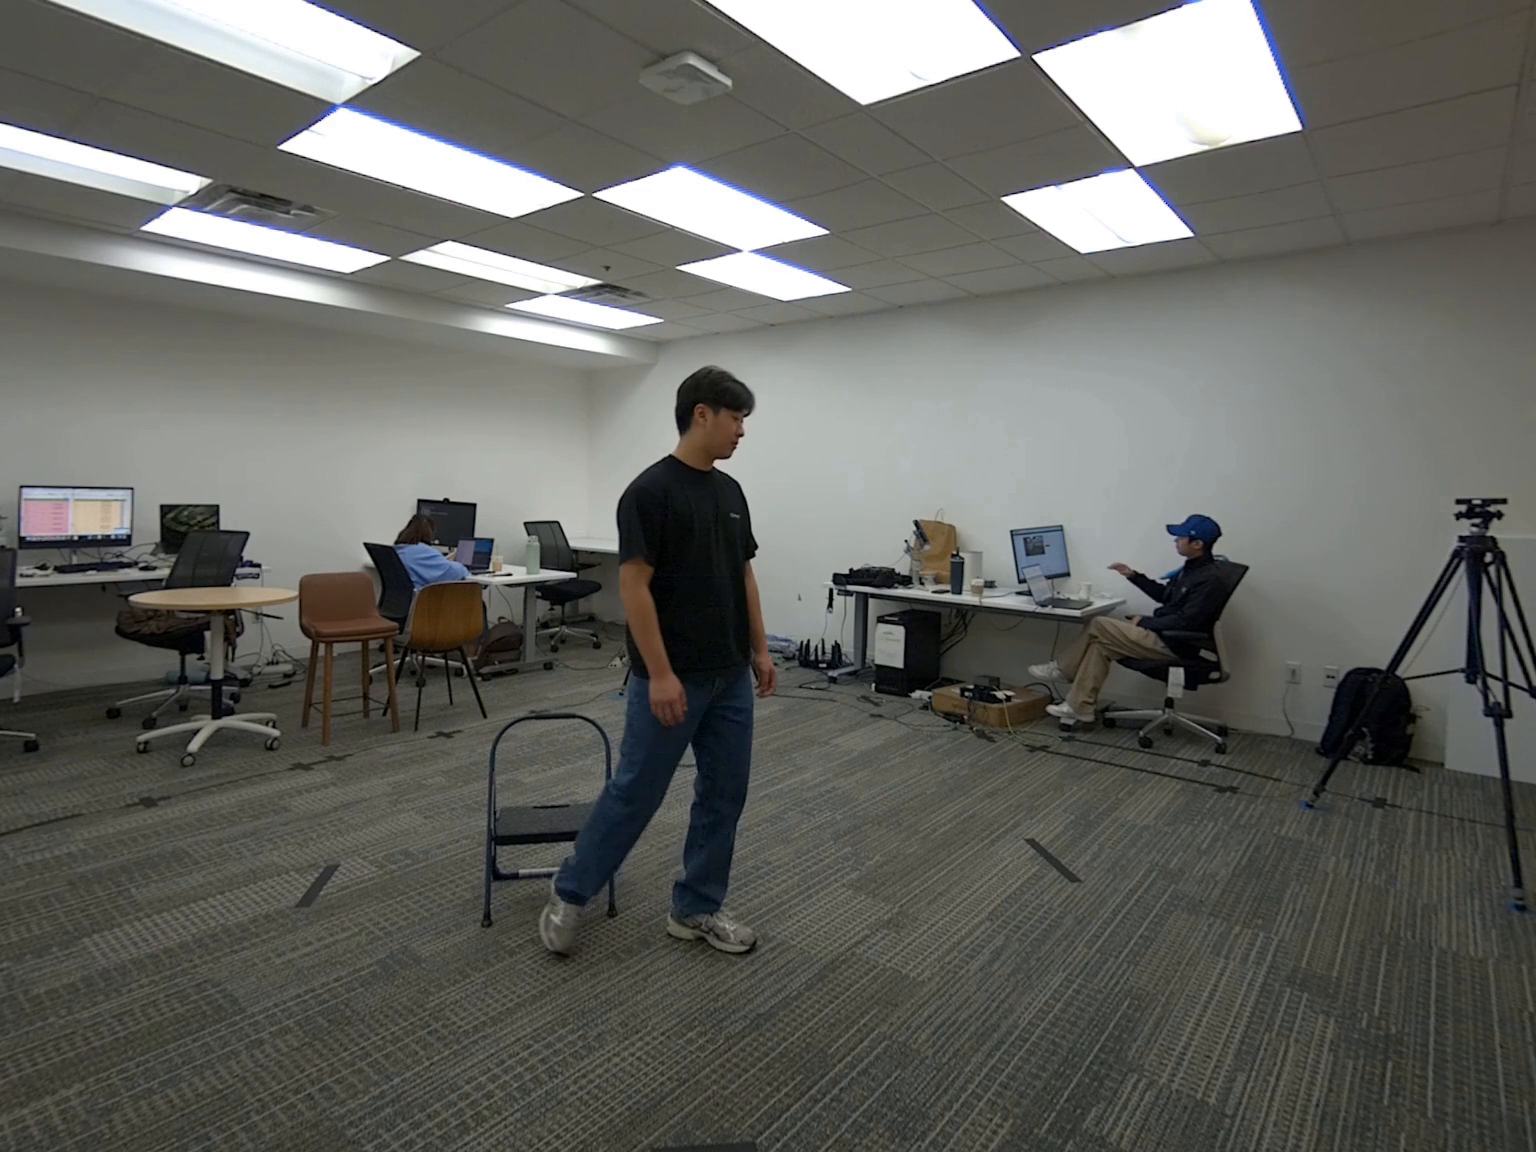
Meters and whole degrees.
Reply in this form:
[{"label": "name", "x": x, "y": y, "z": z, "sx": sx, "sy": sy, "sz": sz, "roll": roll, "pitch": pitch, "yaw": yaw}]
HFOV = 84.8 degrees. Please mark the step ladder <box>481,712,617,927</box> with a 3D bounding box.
[{"label": "step ladder", "x": -0.742, "y": 0.785, "z": 2.869, "sx": 0.425, "sy": 0.604, "sz": 0.355, "roll": 1, "pitch": 4, "yaw": -13}]
